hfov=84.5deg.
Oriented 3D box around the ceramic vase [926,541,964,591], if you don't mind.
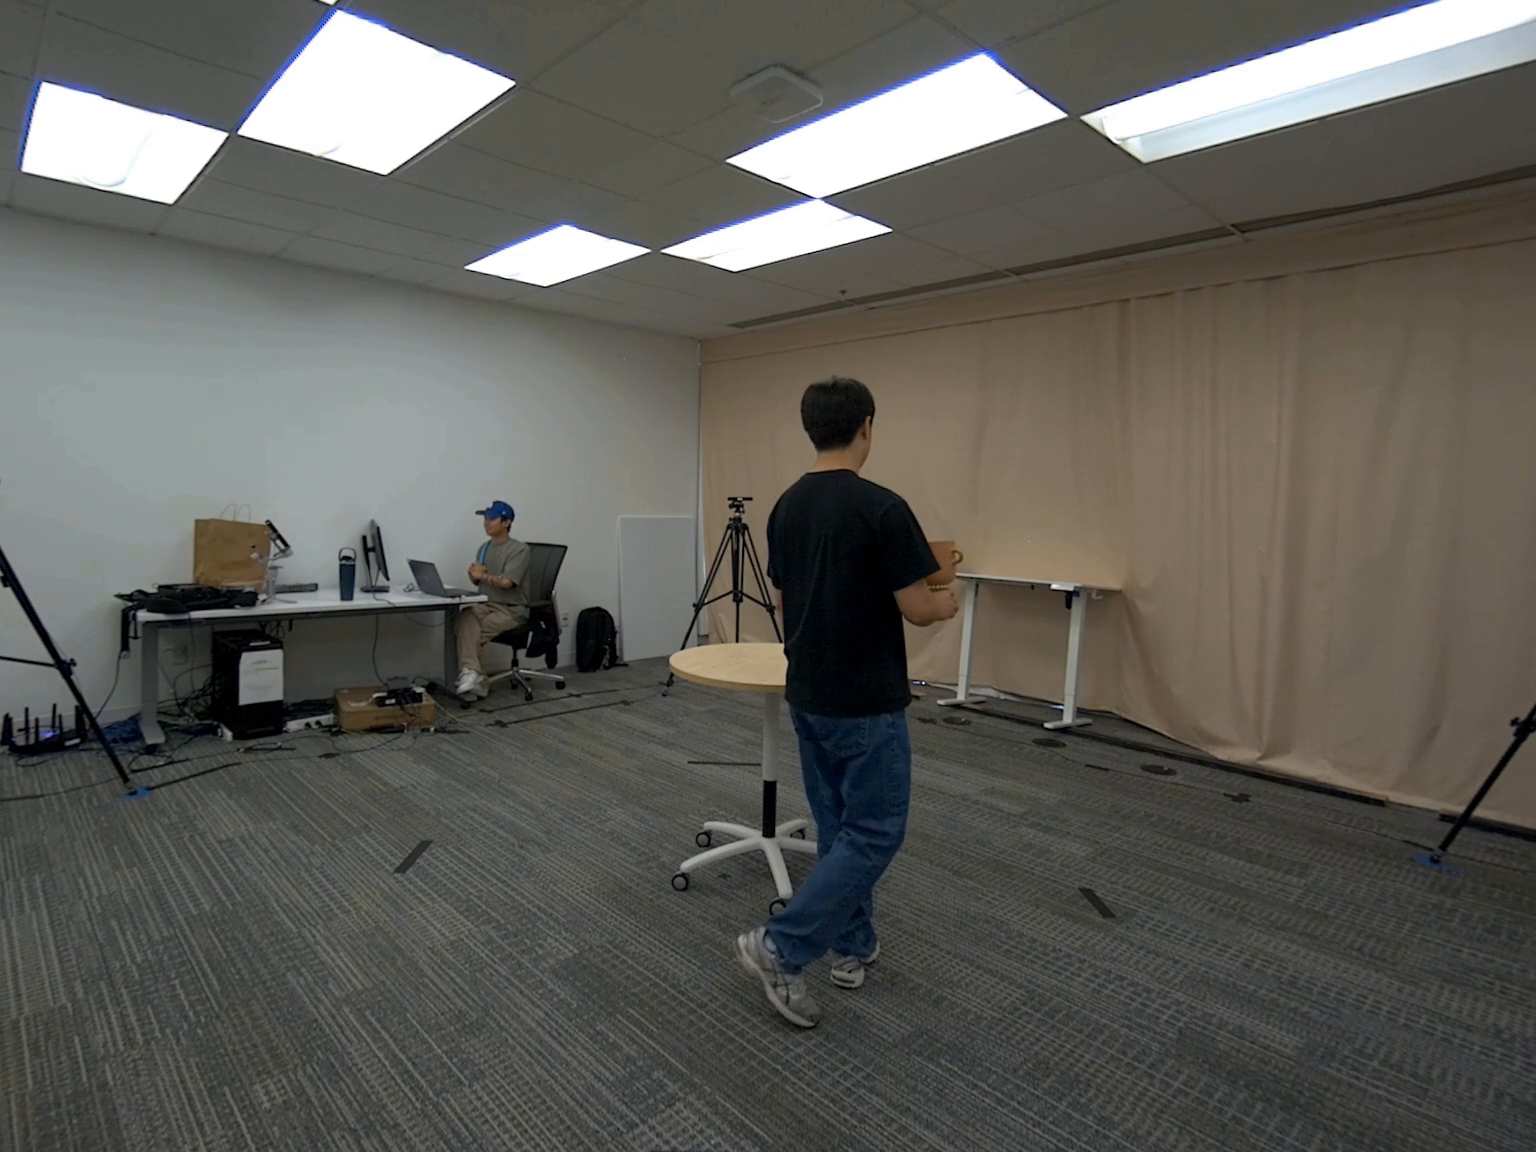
[{"bbox_3d":[0.496,0.007,2.552,0.134,0.220,0.160,-3,-1,-9],"label":"ceramic vase"}]
